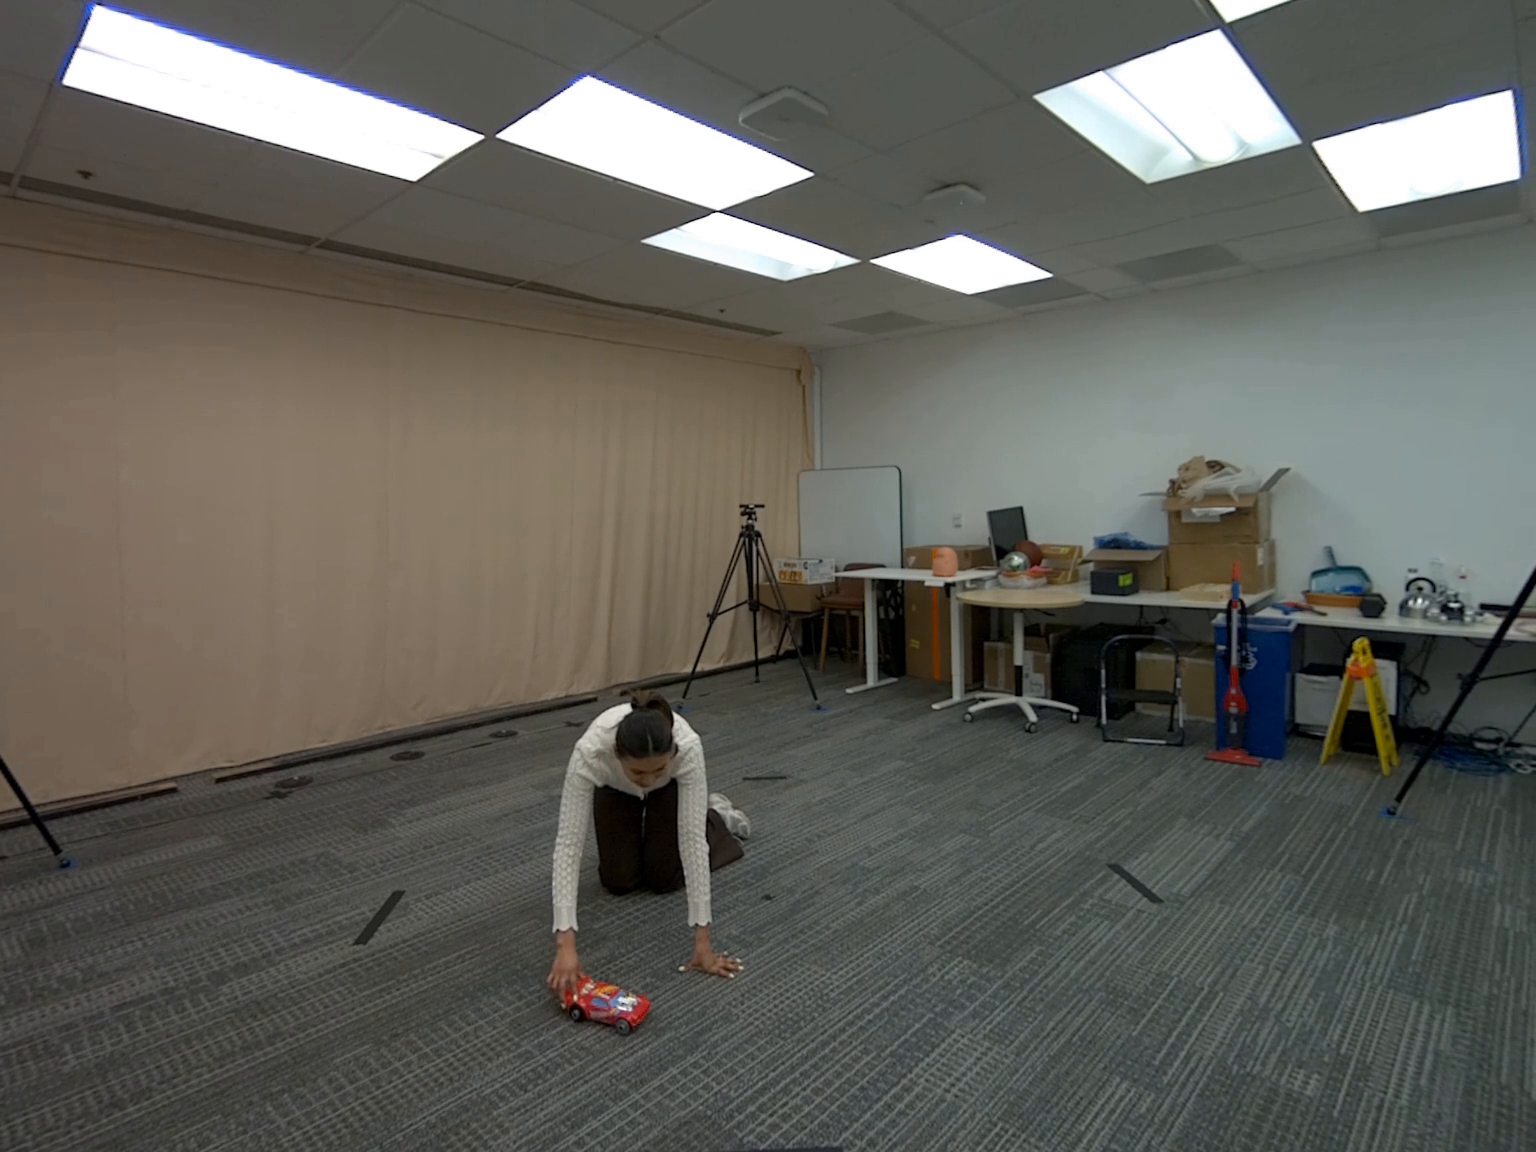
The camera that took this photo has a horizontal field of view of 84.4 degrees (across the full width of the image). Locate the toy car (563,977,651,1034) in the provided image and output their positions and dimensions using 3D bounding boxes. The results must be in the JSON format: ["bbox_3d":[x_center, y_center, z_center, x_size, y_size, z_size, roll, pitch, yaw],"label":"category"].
[{"bbox_3d":[-0.451,1.167,2.314,0.261,0.083,0.127,12,10,22],"label":"toy car"}]
